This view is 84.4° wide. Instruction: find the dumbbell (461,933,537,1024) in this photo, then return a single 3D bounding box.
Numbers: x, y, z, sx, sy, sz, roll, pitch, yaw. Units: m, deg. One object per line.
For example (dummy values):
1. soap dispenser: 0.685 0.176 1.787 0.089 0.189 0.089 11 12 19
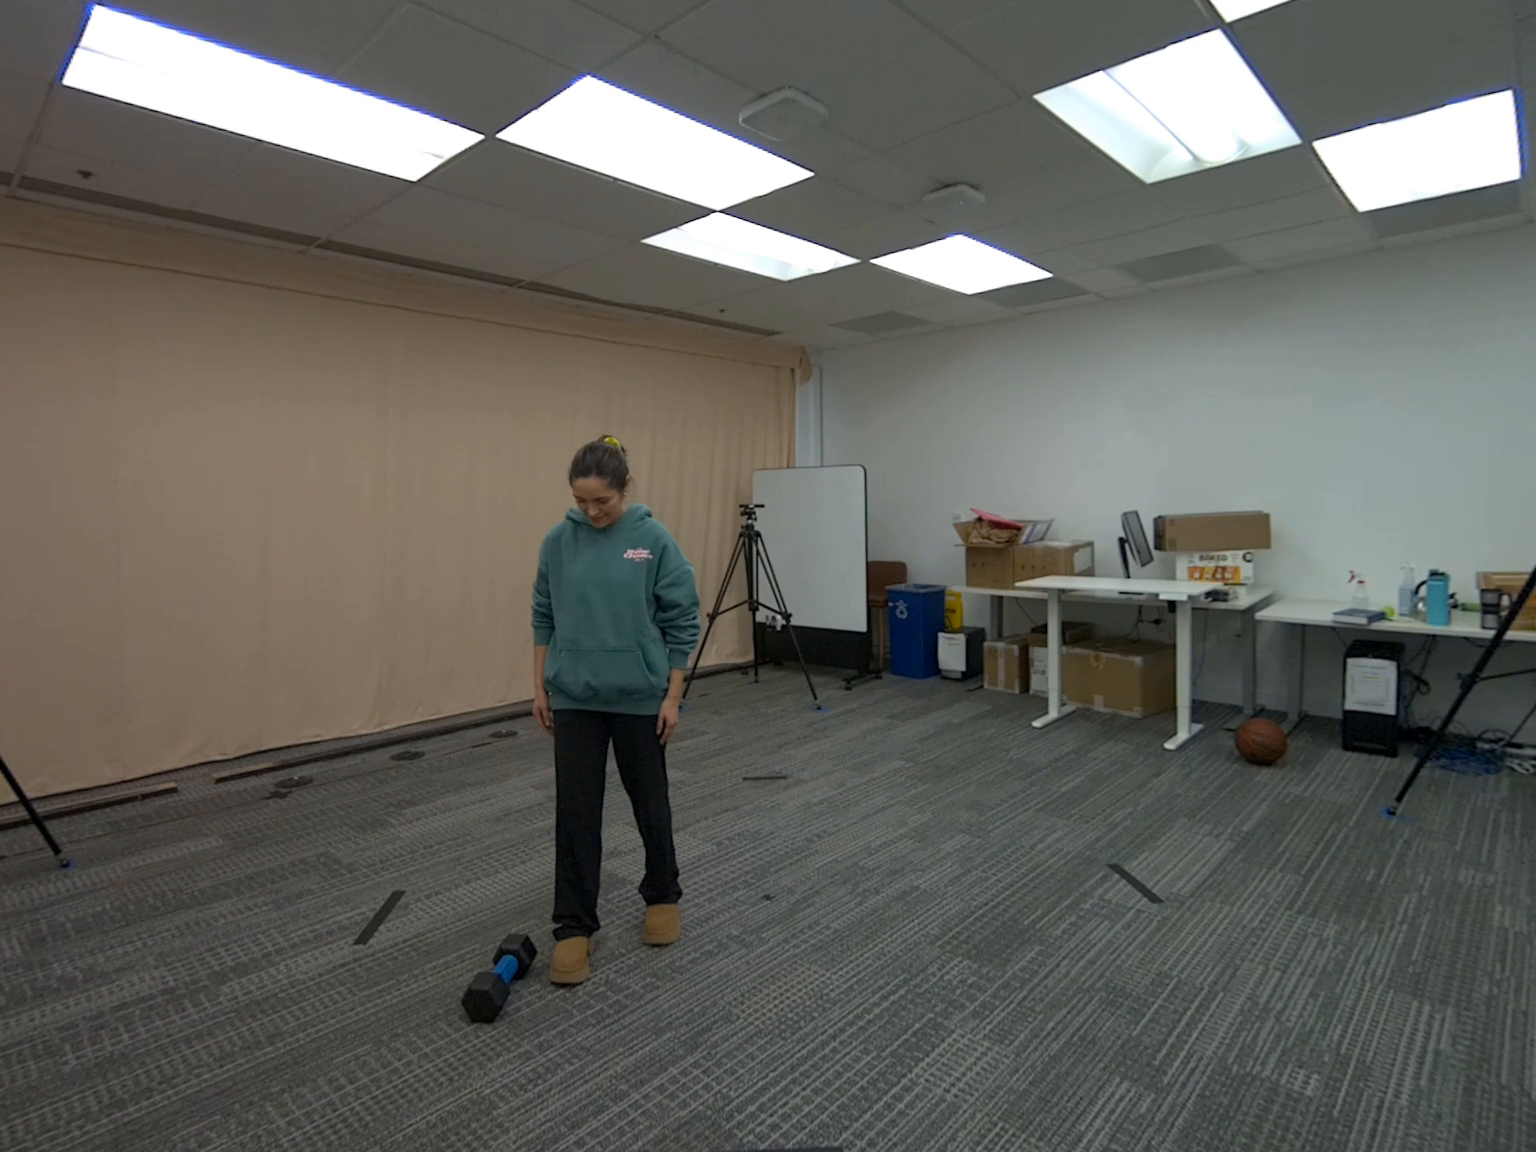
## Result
1. dumbbell: -0.766 1.152 2.416 0.109 0.123 0.292 -29 1 8
